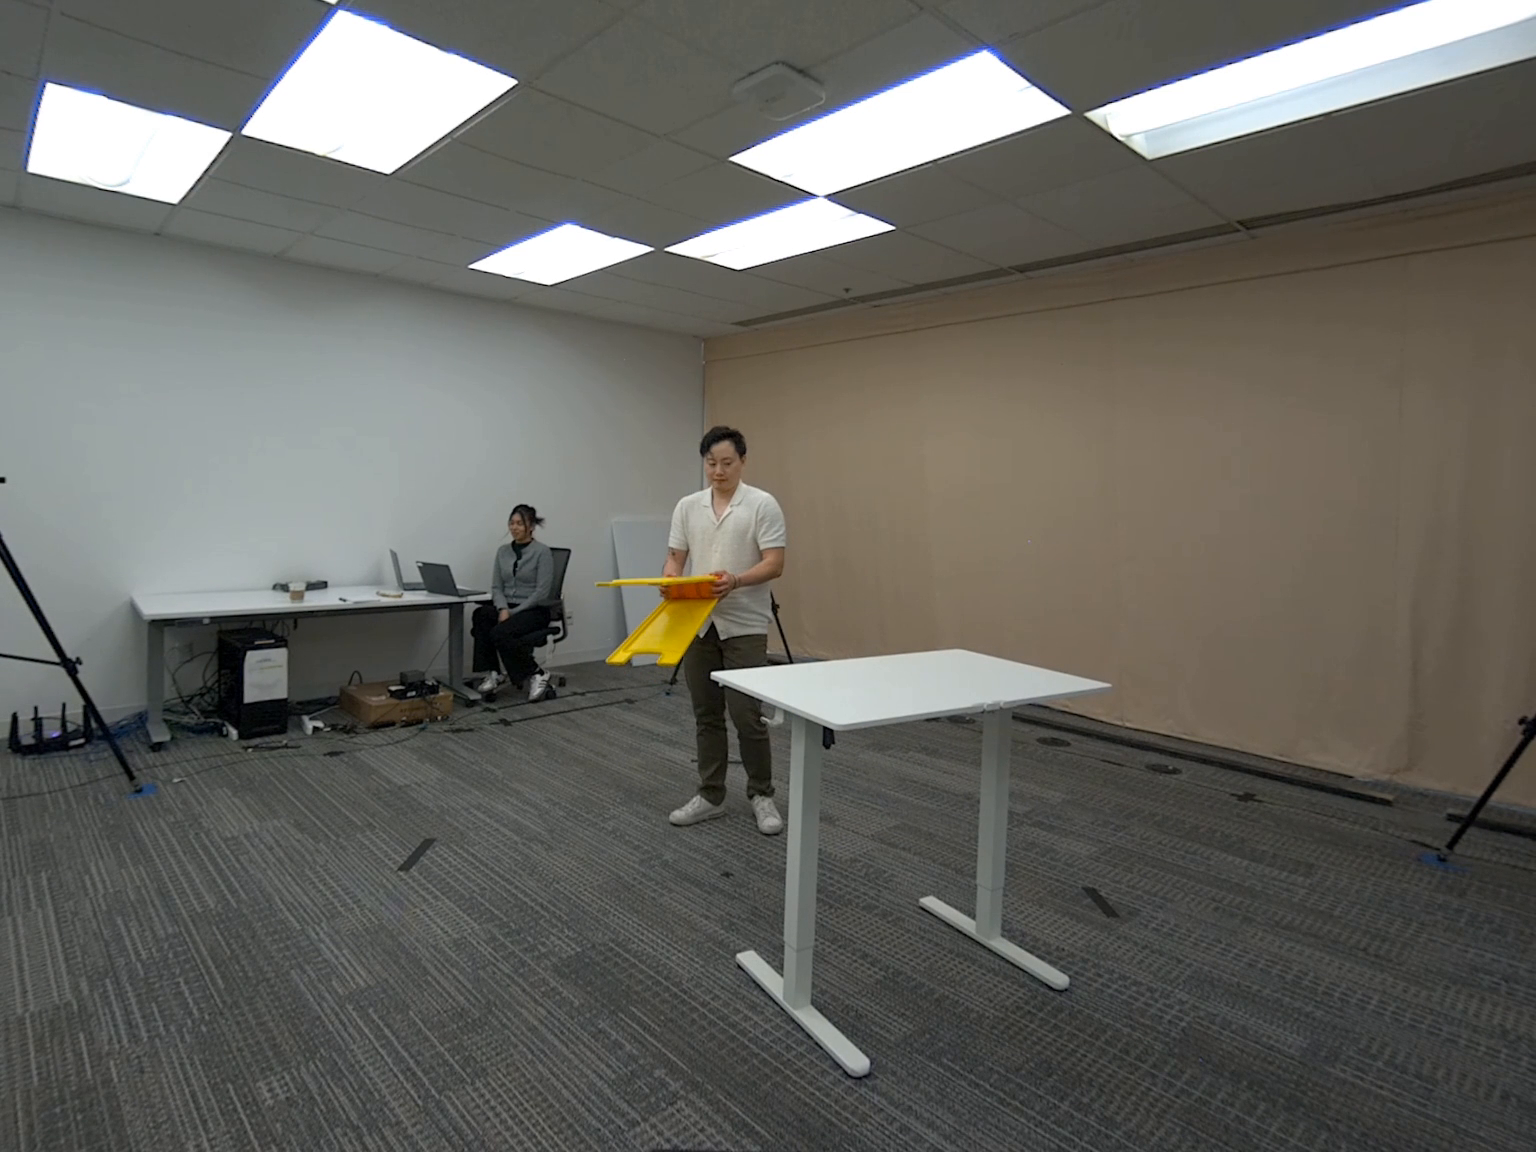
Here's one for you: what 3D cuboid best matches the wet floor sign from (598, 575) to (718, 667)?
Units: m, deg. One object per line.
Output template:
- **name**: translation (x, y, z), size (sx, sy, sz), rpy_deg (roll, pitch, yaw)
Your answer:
- **wet floor sign**: translation (-0.342, 0.089, 3.171), size (0.287, 0.287, 0.642), rpy_deg (-2, 14, 22)
